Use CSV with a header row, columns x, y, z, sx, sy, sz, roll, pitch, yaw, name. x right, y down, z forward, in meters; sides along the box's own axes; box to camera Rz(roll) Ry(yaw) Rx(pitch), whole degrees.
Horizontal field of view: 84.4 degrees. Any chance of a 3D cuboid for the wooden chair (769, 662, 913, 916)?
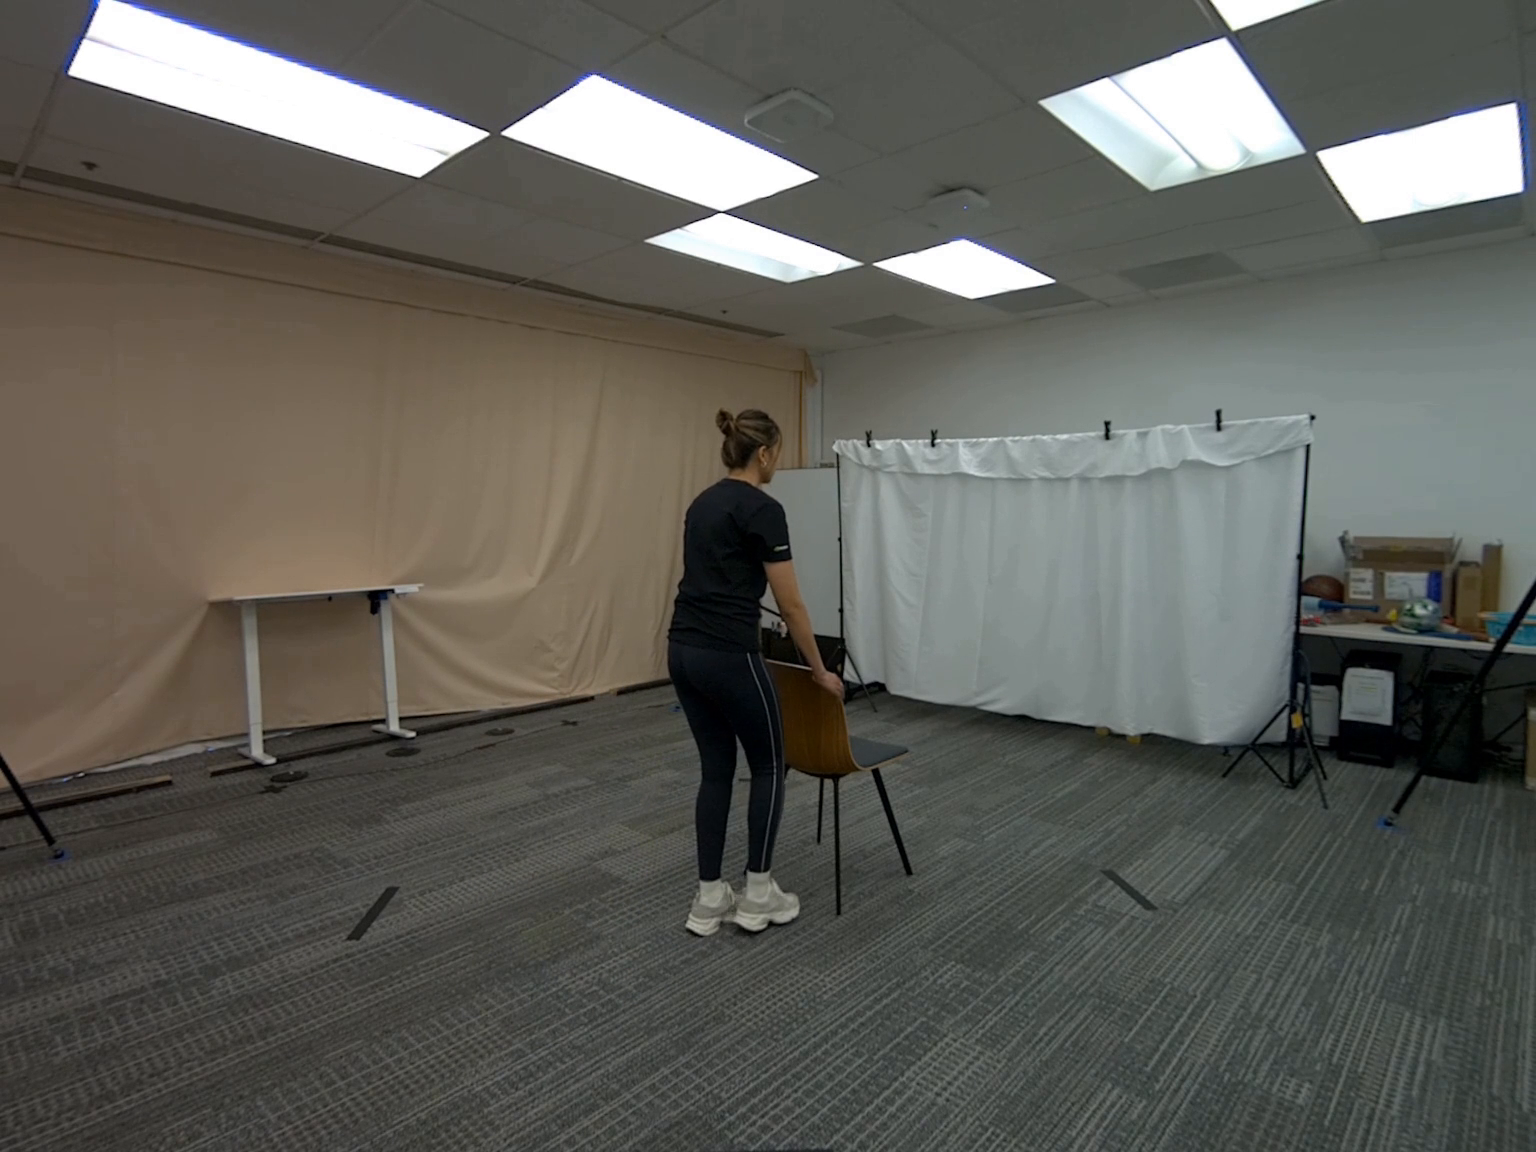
x,y,z,sx,sy,sz,roll,pitch,yaw,name
0.233,0.700,3.152,0.494,0.873,0.508,3,9,44,wooden chair
